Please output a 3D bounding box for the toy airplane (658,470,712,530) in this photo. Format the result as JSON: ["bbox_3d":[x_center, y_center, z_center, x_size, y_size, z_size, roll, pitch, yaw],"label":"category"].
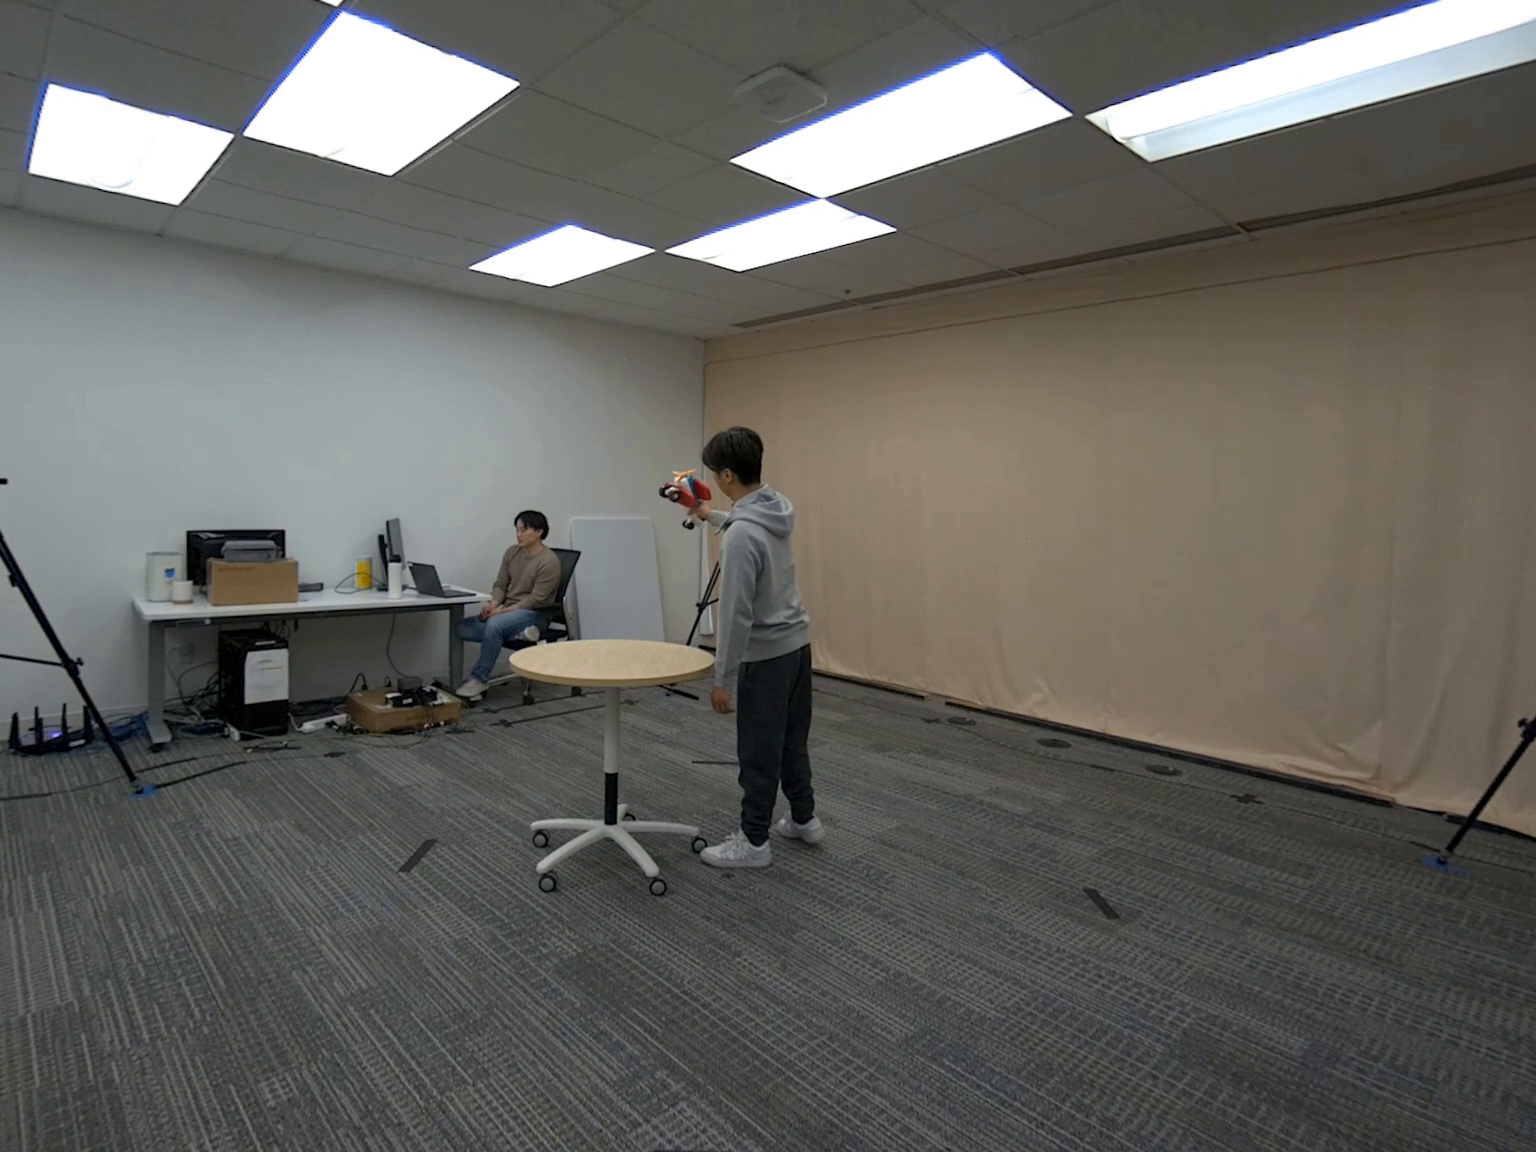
[{"bbox_3d":[-0.366,-0.331,3.661,0.258,0.156,0.253,40,-17,26],"label":"toy airplane"}]
